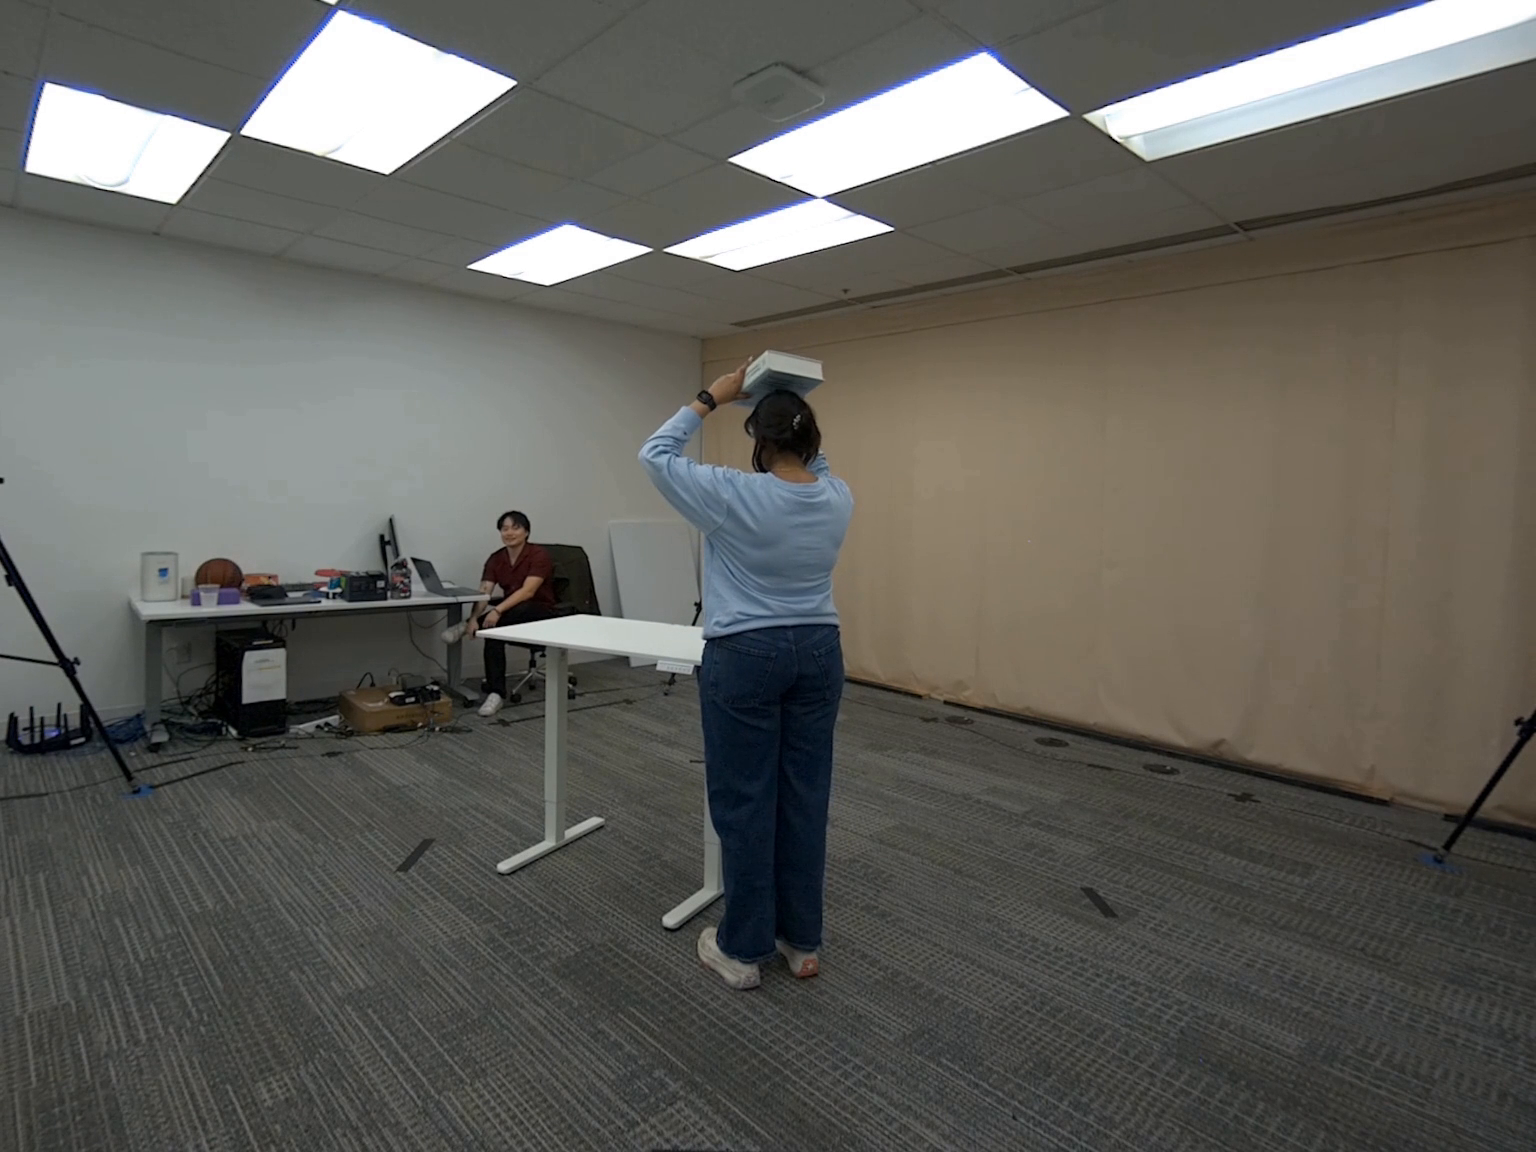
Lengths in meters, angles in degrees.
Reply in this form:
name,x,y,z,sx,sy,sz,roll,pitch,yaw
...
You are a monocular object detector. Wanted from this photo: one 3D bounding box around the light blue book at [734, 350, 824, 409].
name,x,y,z,sx,sy,sz,roll,pitch,yaw
light blue book,0.009,-0.567,2.474,0.187,0.059,0.264,5,-13,-27
